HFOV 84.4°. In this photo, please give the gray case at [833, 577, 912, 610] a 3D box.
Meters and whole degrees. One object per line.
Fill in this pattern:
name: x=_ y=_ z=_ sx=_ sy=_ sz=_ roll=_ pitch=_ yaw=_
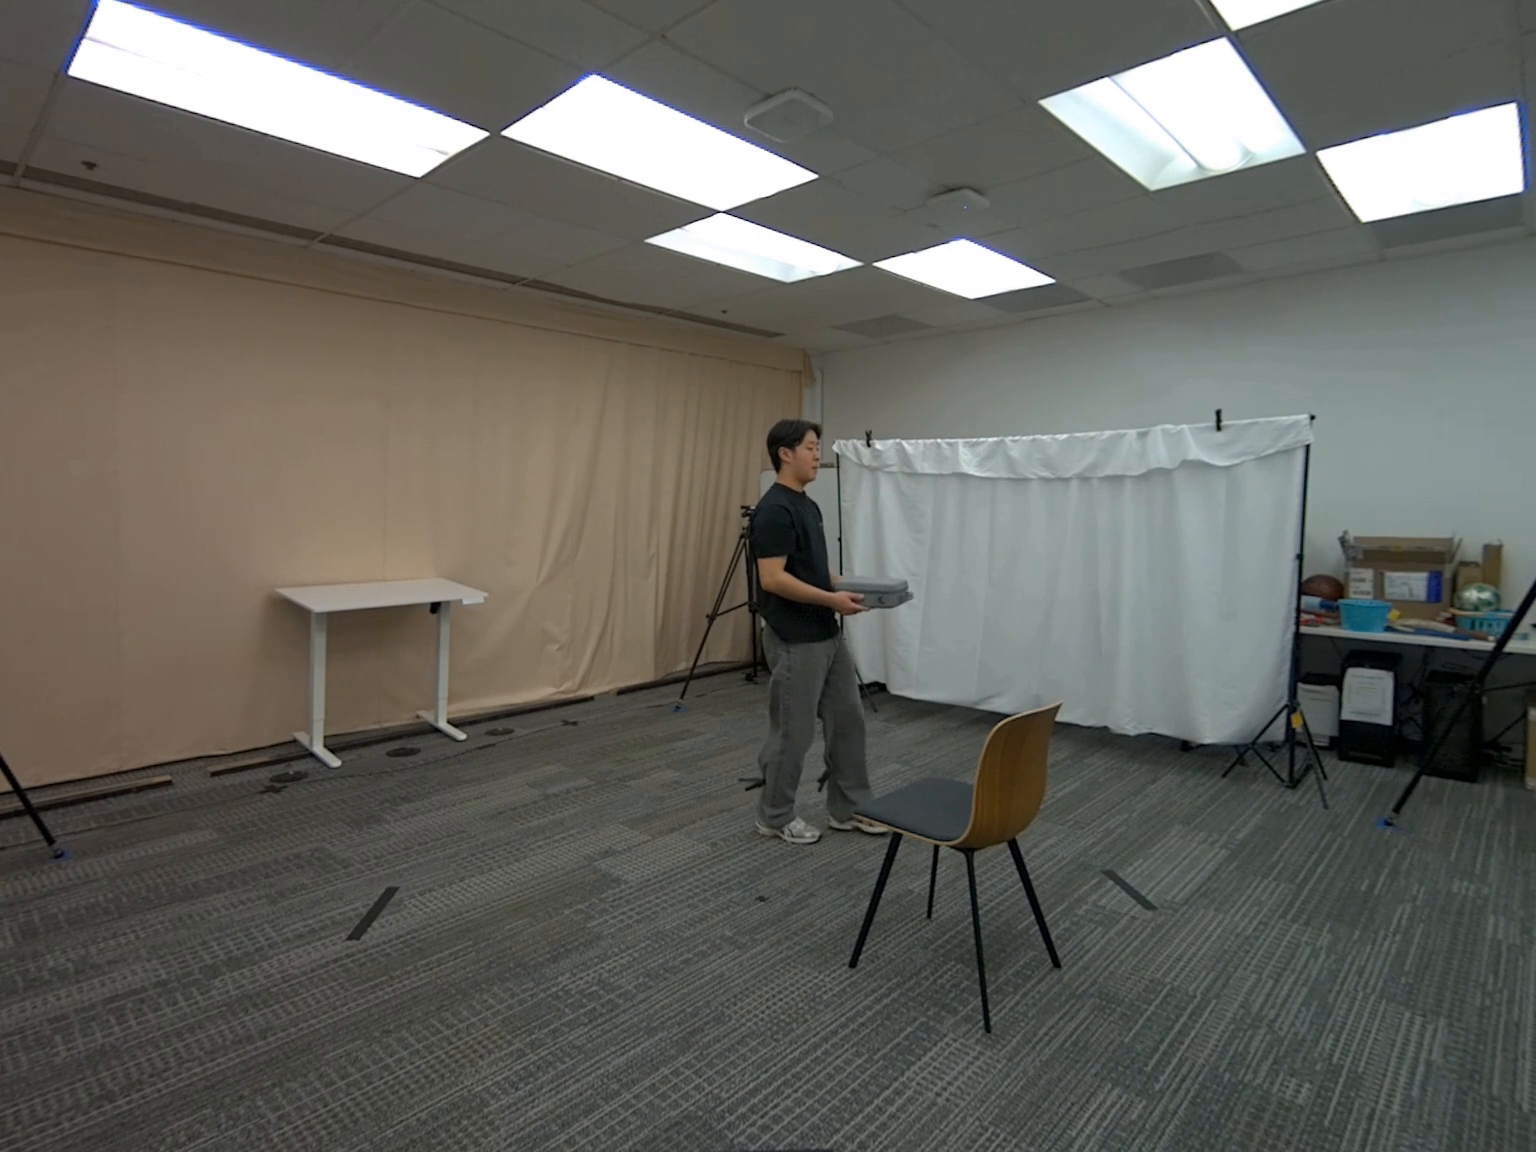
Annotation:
gray case: x=0.435 y=0.067 z=3.366 sx=0.295 sy=0.103 sz=0.257 roll=3 pitch=5 yaw=25
